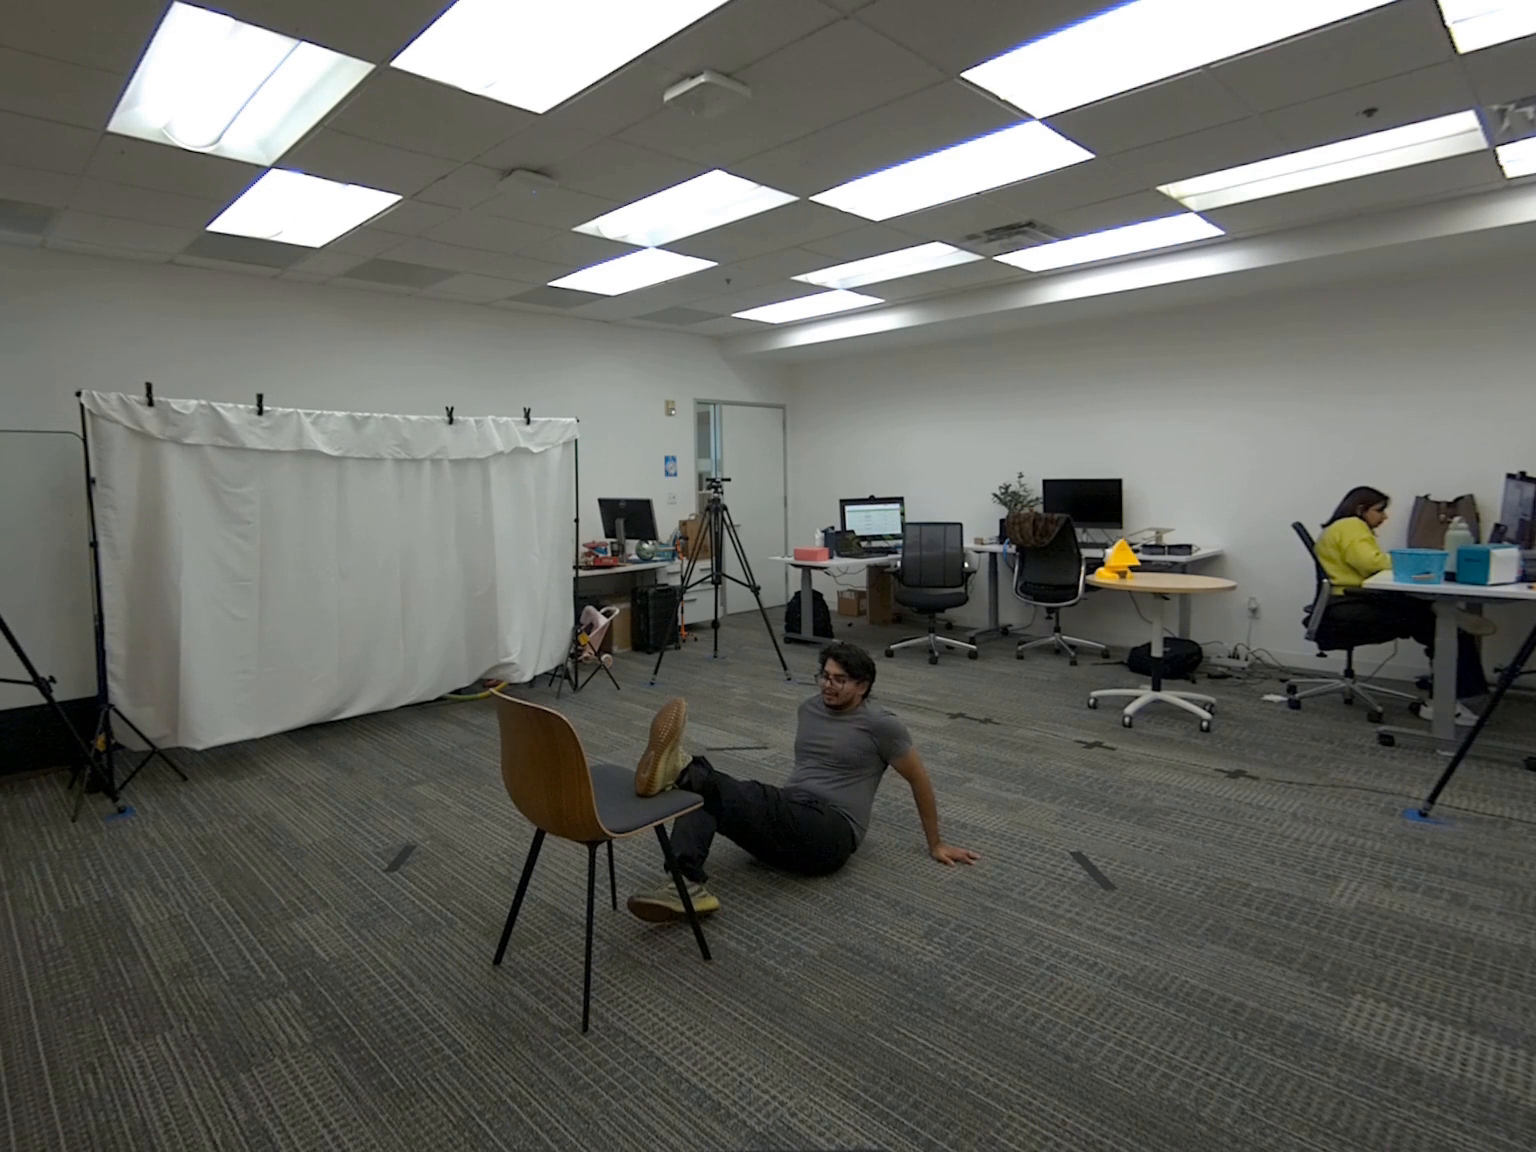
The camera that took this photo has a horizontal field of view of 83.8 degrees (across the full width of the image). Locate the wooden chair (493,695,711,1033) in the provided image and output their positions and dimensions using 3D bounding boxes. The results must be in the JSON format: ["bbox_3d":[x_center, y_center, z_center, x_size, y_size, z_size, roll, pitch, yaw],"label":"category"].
[{"bbox_3d":[-0.481,0.702,2.454,0.493,0.871,0.511,3,10,43],"label":"wooden chair"}]
